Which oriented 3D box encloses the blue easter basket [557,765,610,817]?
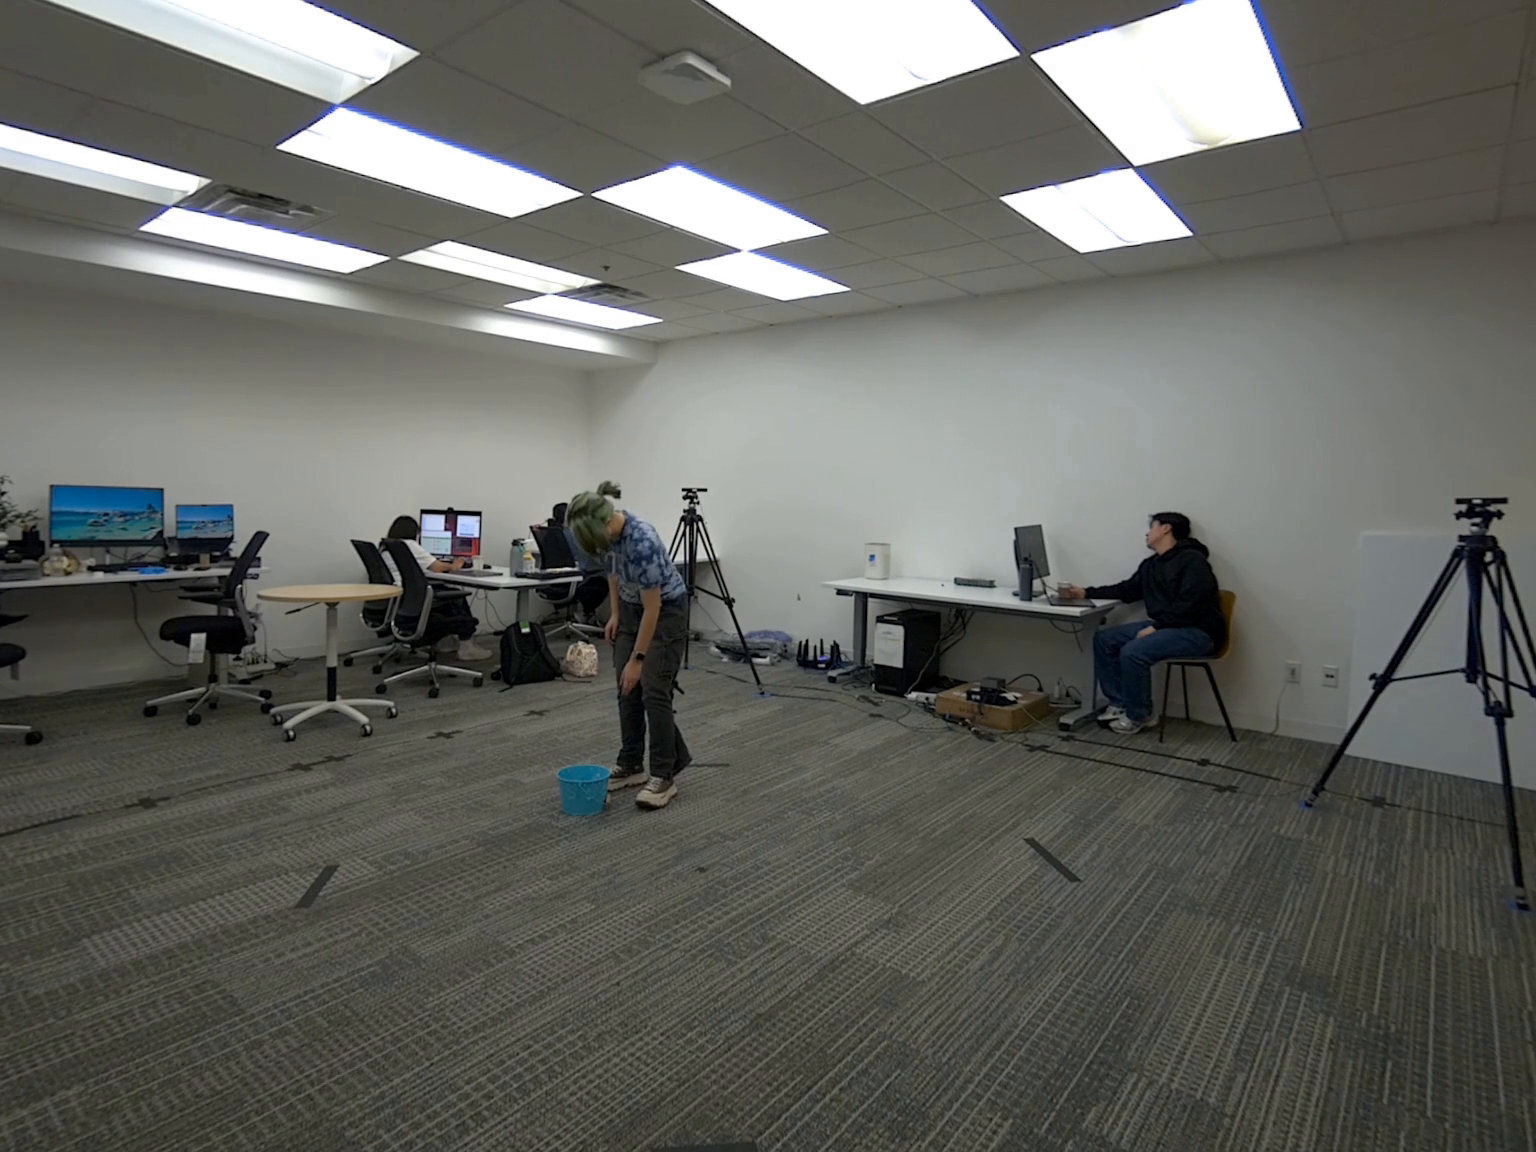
[{"bbox_3d":[-0.811,0.929,3.693,0.243,0.155,0.245,0,5,-2],"label":"blue easter basket"}]
